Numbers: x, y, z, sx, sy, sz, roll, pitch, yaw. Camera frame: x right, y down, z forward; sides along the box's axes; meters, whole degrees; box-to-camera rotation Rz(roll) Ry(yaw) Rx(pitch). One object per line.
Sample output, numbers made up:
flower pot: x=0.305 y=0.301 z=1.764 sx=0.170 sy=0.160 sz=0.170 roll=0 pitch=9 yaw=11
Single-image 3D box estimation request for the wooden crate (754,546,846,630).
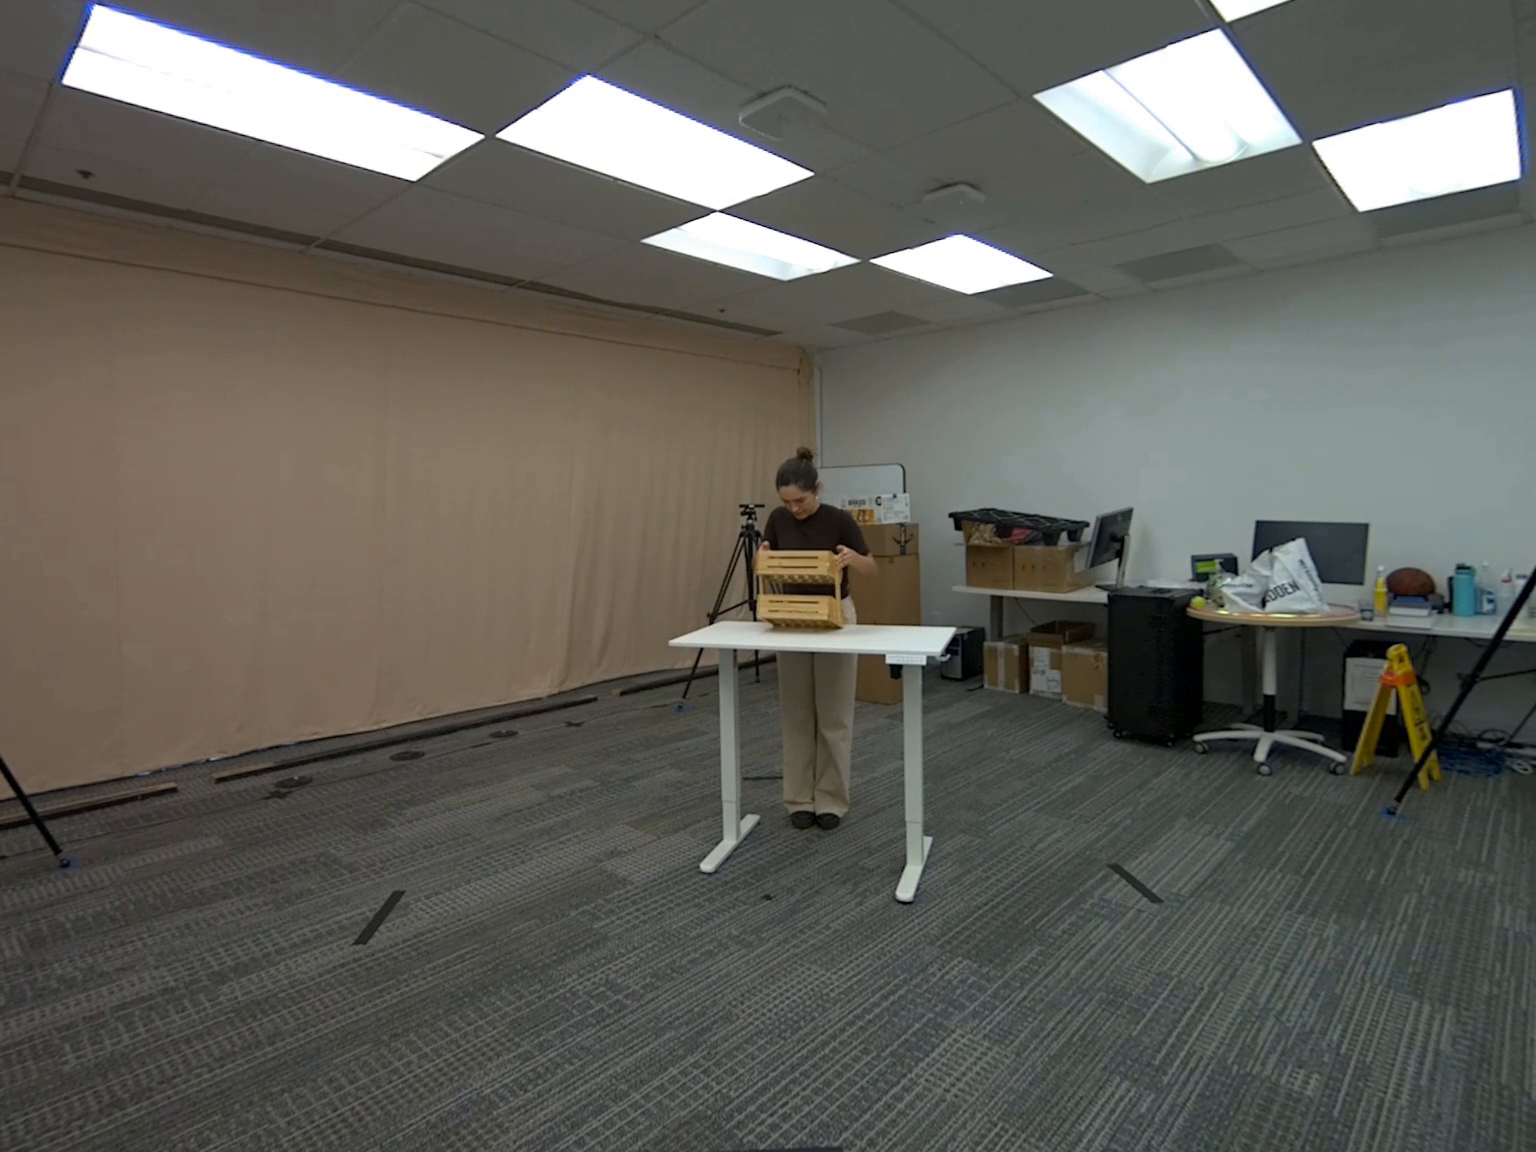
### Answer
wooden crate: x=0.138 y=0.058 z=3.415 sx=0.331 sy=0.275 sz=0.294 roll=-1 pitch=-11 yaw=21
